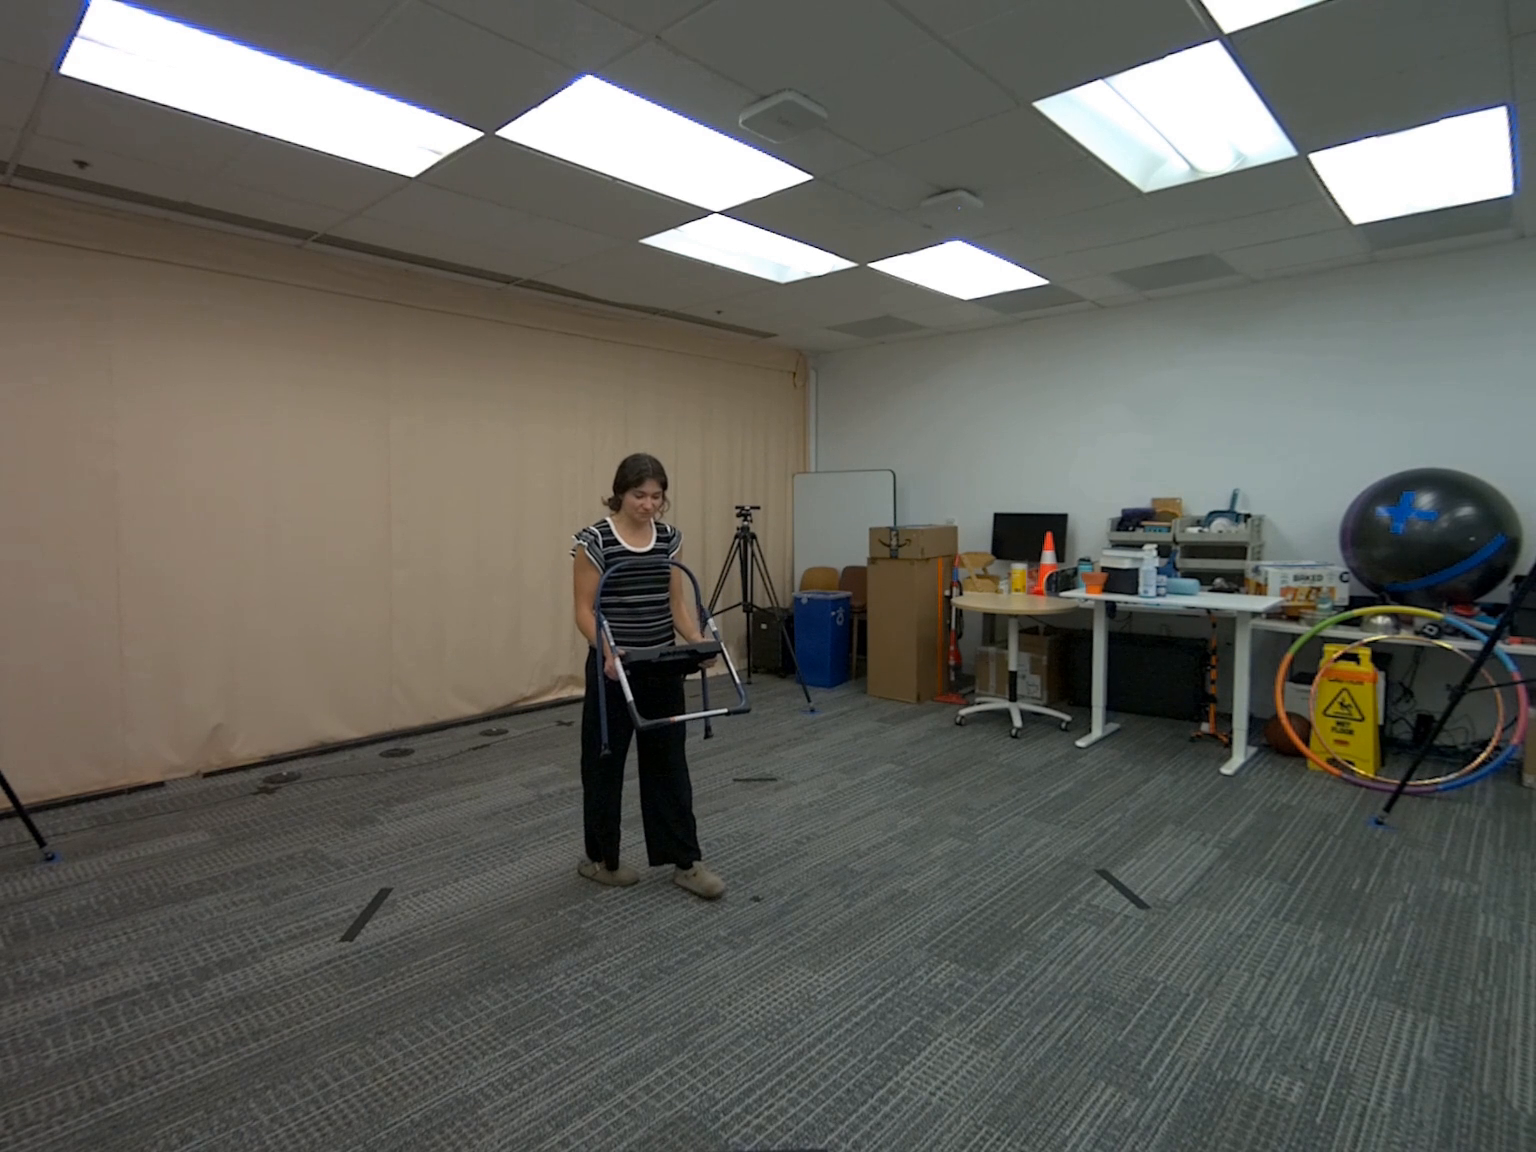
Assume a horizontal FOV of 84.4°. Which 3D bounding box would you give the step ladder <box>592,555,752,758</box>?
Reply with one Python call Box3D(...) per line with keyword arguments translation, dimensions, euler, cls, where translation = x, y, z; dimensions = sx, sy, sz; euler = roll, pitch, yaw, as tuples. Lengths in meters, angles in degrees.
Box3D(translation=(-0.366, 0.252, 2.905), dimensions=(0.419, 0.617, 0.353), euler=(-3, -24, -32), cls="step ladder")
